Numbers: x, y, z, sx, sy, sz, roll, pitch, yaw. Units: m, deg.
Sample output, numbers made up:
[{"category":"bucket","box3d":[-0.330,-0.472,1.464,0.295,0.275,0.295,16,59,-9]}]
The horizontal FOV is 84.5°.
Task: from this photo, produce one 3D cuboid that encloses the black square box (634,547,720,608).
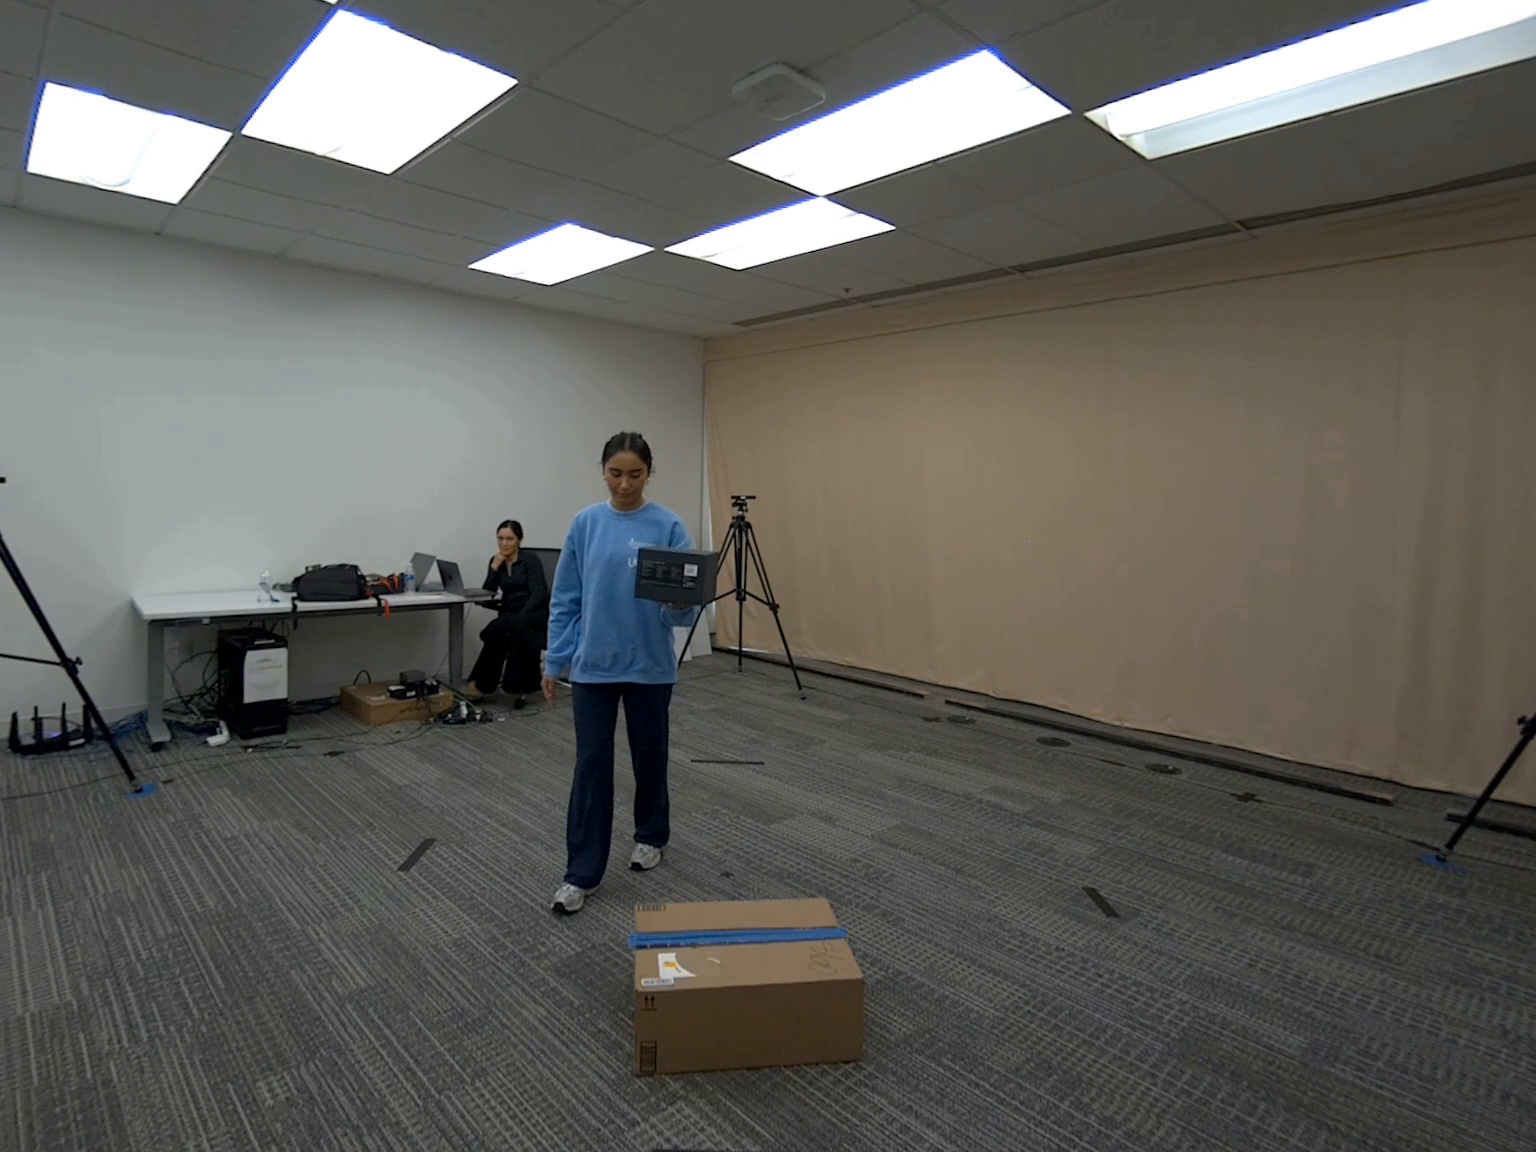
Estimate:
[{"category":"black square box","box3d":[-0.303,-0.003,2.669,0.219,0.155,0.226,6,4,12]}]
